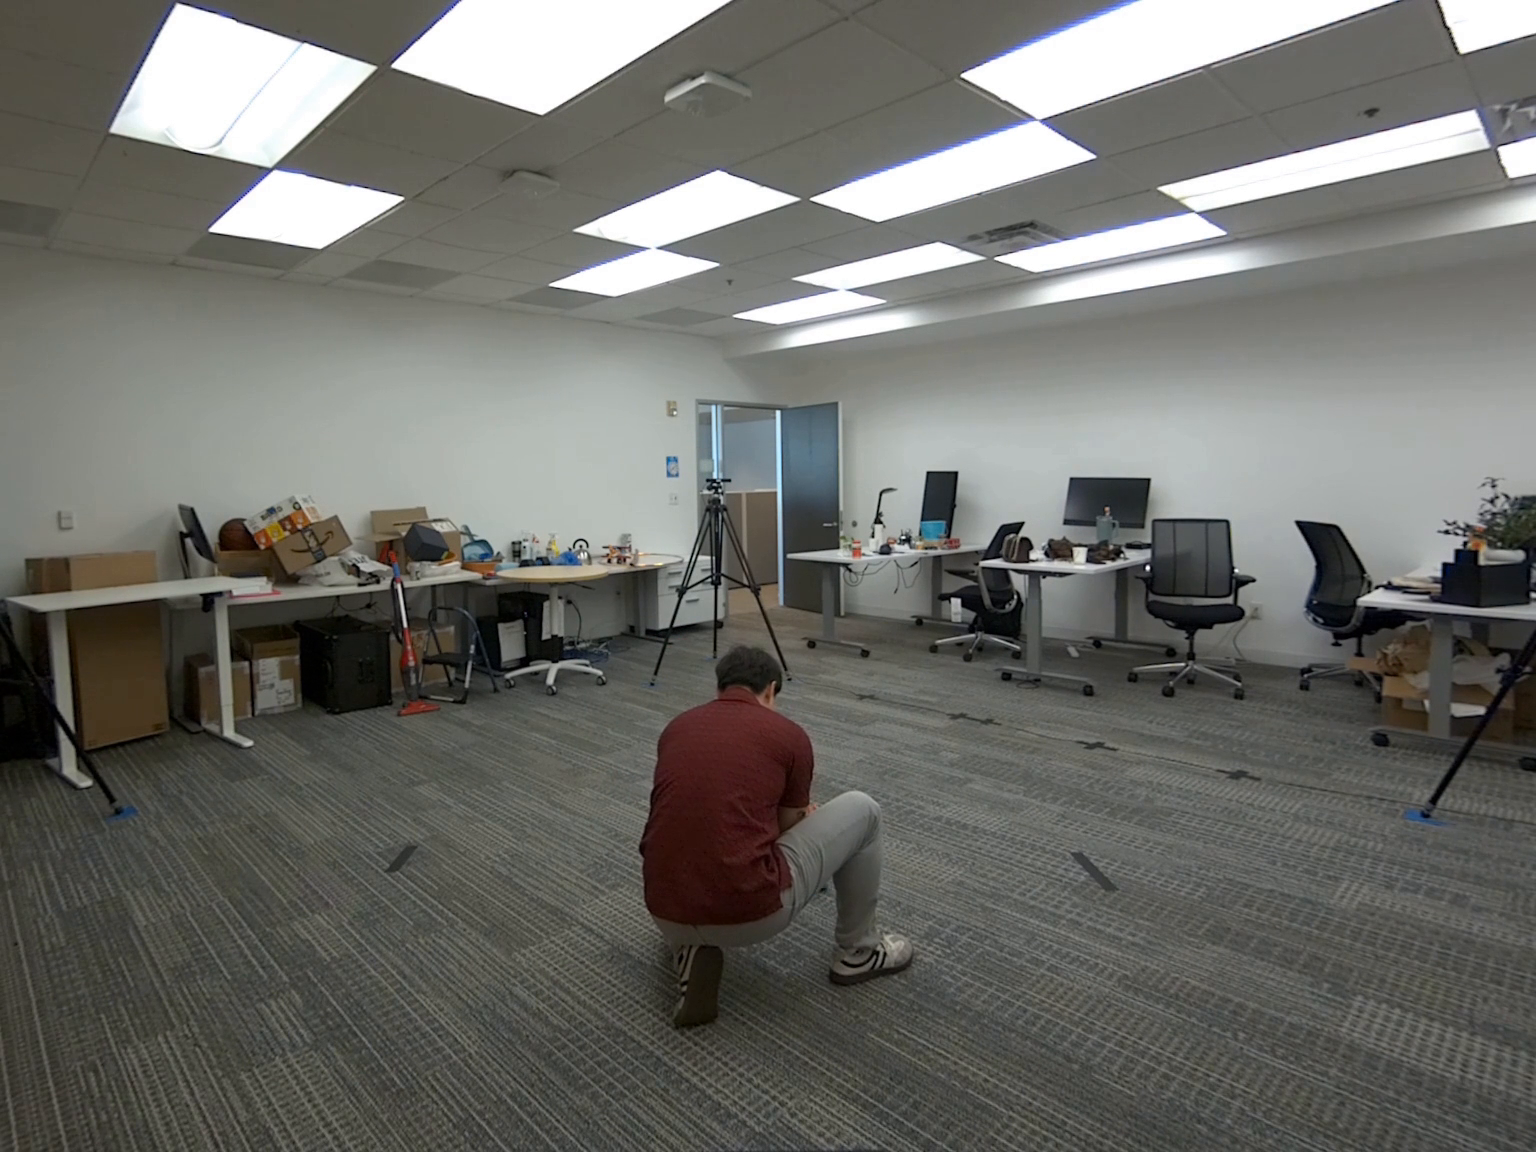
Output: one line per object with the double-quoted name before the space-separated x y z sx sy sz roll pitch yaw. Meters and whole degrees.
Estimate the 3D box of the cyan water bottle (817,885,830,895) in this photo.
"cyan water bottle" 0.073 1.017 2.921 0.285 0.092 0.092 -3 5 7
